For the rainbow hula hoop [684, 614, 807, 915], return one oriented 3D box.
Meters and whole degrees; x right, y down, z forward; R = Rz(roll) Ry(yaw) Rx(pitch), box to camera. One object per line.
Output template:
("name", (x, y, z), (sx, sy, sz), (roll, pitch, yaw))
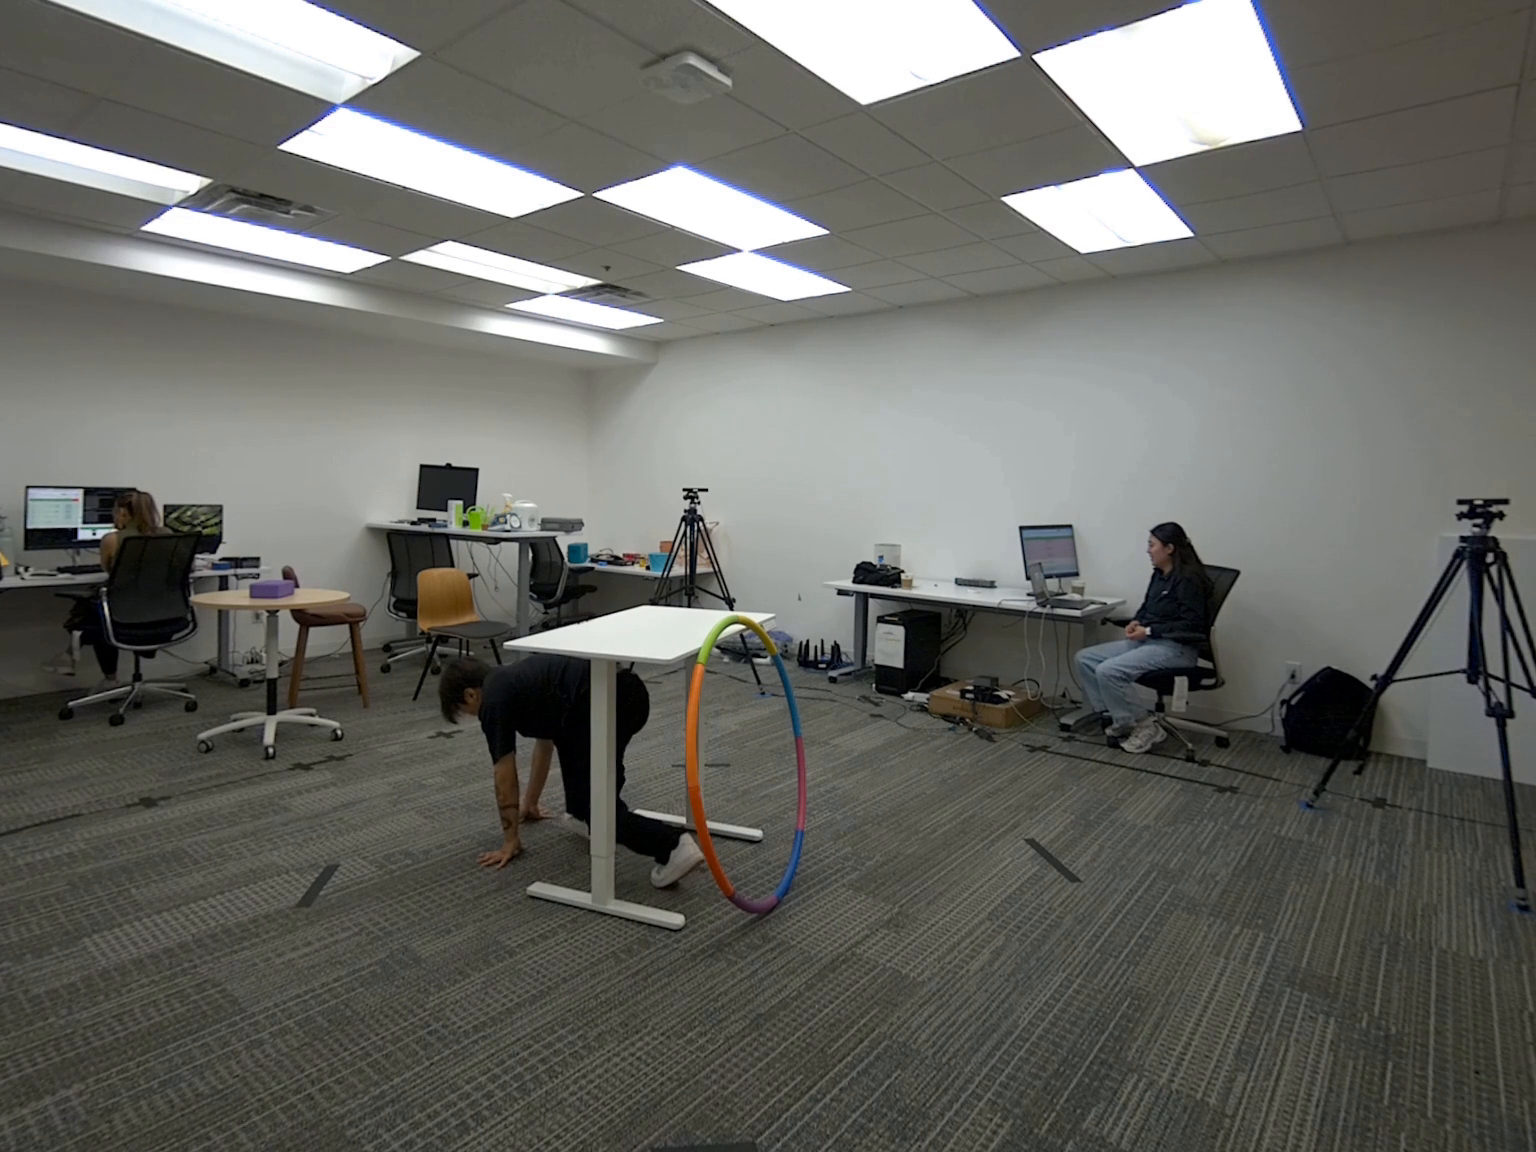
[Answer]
("rainbow hula hoop", (-0.058, 0.621, 2.918), (0.036, 0.980, 0.960), (-11, -1, 20))
